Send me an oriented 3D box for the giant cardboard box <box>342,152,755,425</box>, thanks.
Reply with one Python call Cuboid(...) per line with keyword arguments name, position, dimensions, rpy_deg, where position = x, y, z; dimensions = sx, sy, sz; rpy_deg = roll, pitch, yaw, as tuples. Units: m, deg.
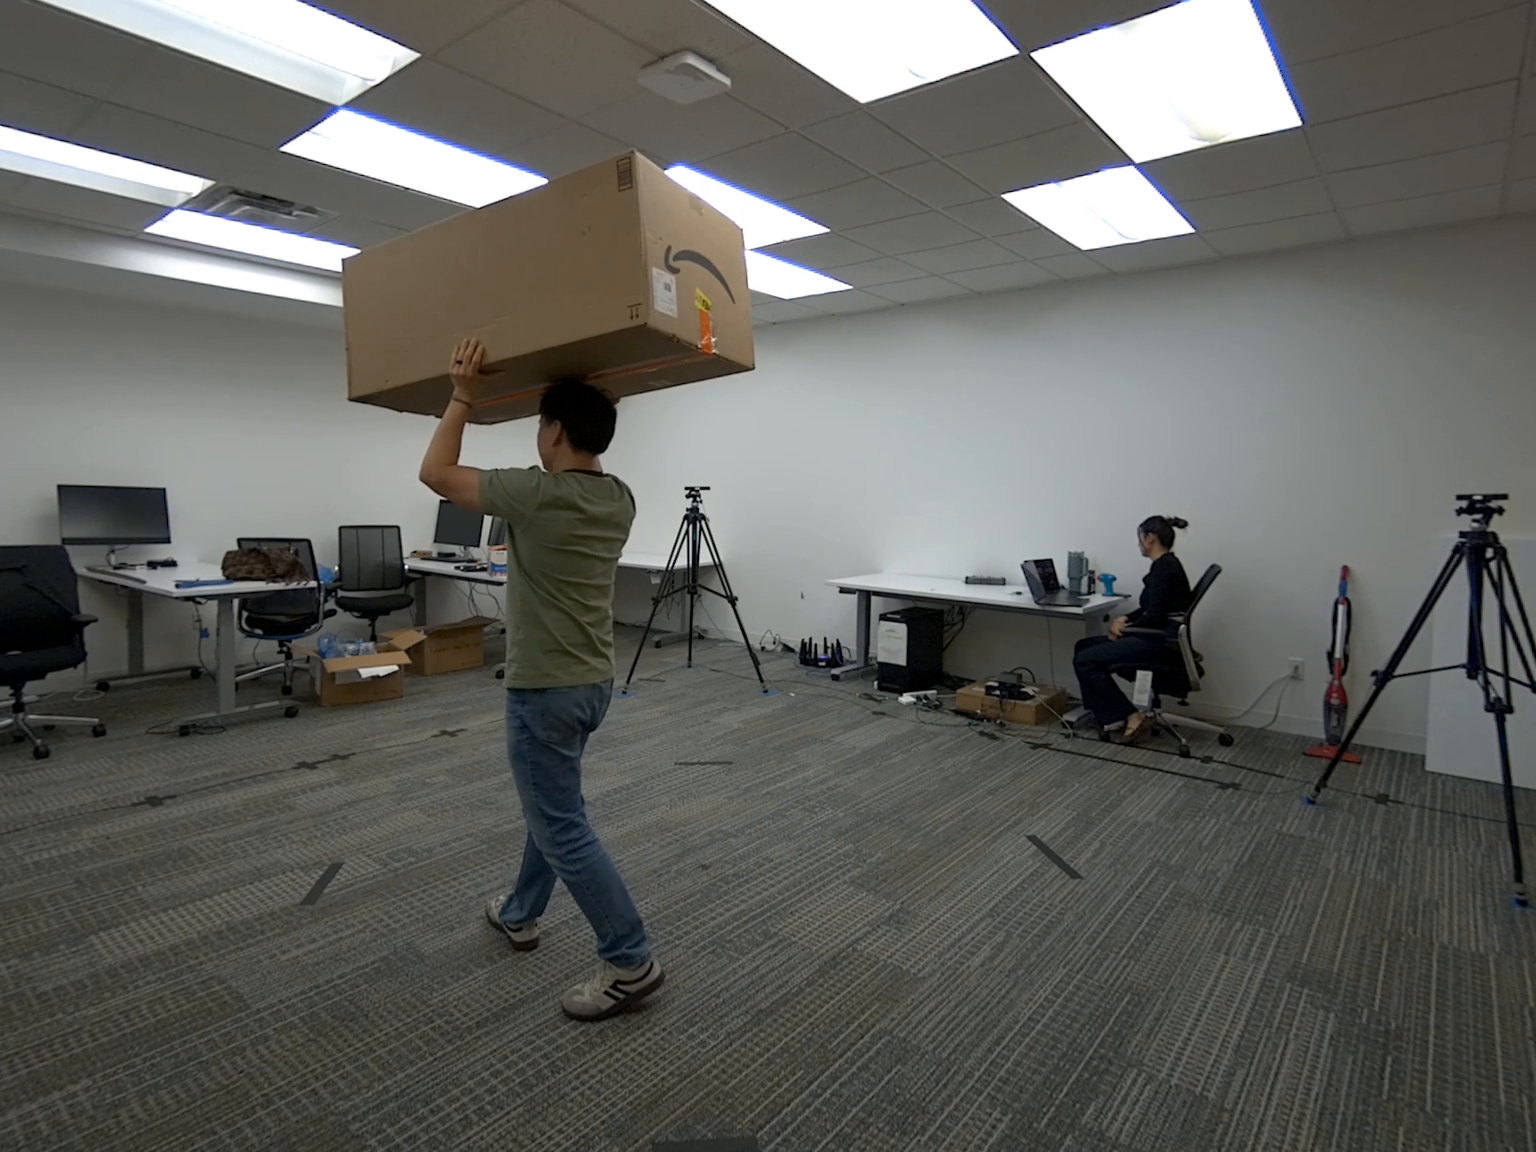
Cuboid(name="giant cardboard box", position=(-0.642, -0.753, 2.449), dimensions=(1.050, 0.427, 0.563), rpy_deg=(-5, -1, 27))
